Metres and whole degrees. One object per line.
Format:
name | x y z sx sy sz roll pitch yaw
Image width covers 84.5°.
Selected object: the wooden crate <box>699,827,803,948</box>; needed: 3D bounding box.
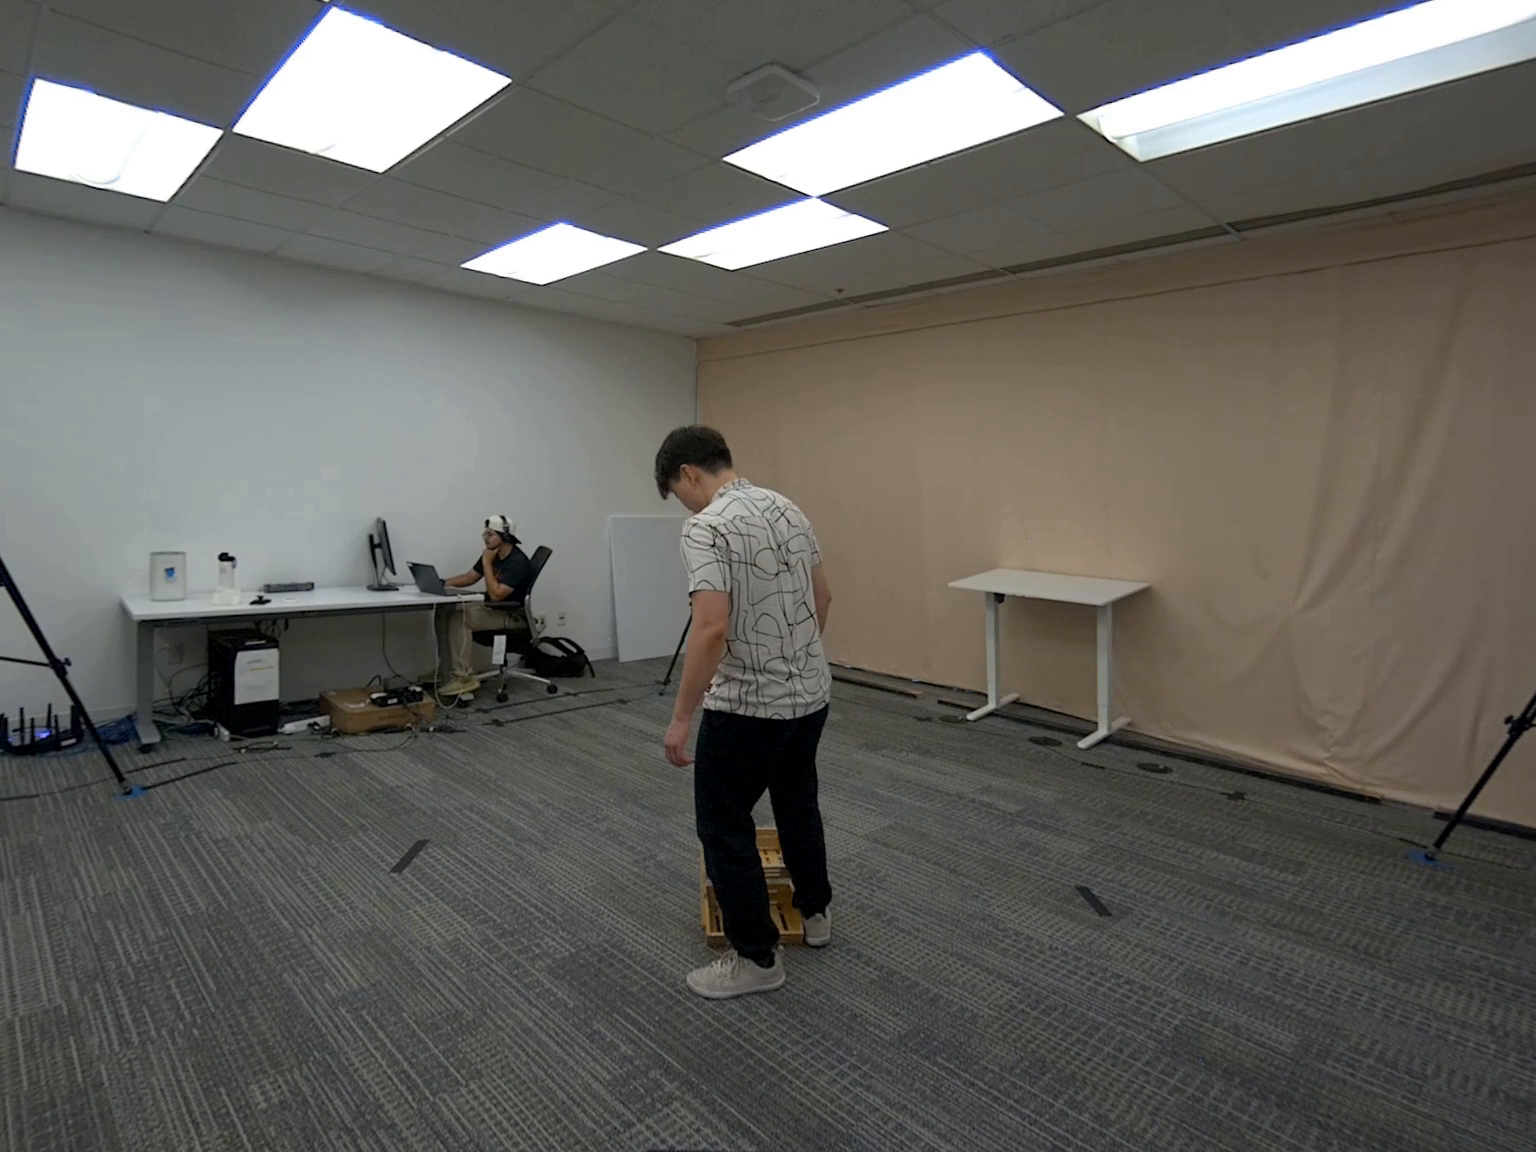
wooden crate | -0.064 1.014 2.734 0.323 0.273 0.304 1 3 -7
